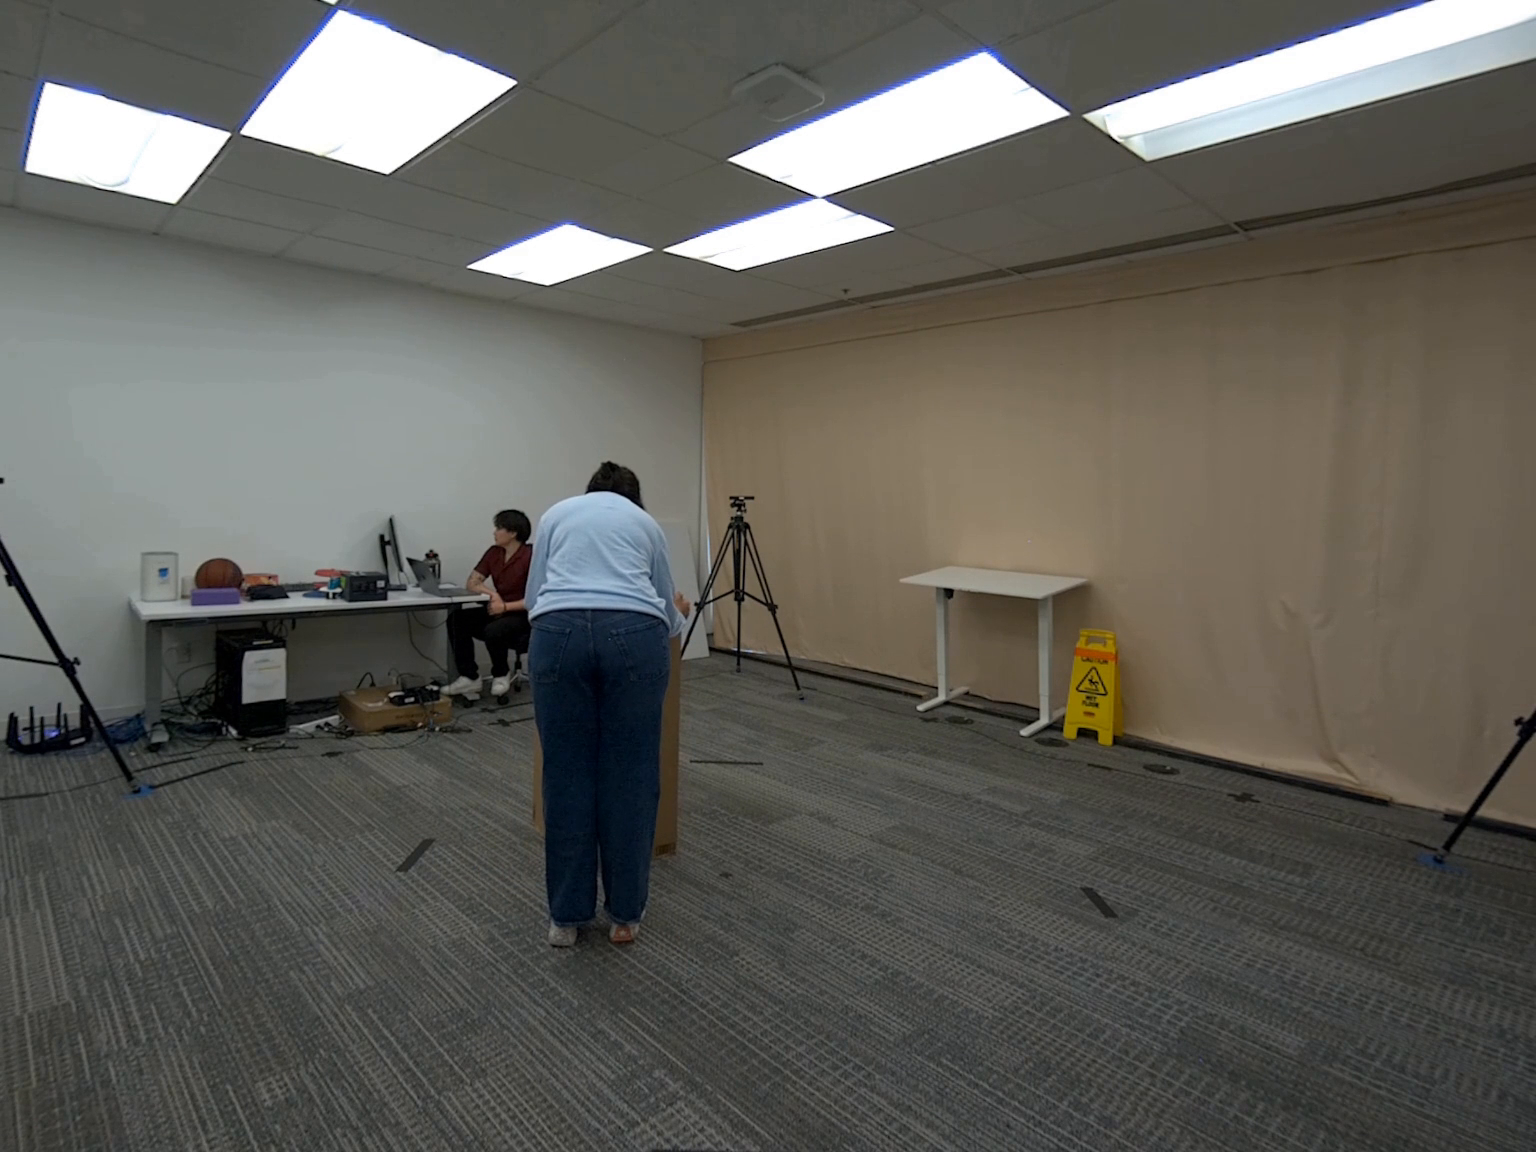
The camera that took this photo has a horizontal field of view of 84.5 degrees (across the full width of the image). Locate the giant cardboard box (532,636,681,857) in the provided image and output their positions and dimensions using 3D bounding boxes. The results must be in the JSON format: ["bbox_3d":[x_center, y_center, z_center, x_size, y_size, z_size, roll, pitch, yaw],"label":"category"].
[{"bbox_3d":[-0.676,0.564,3.412,0.418,1.024,0.590,0,3,-30],"label":"giant cardboard box"}]
